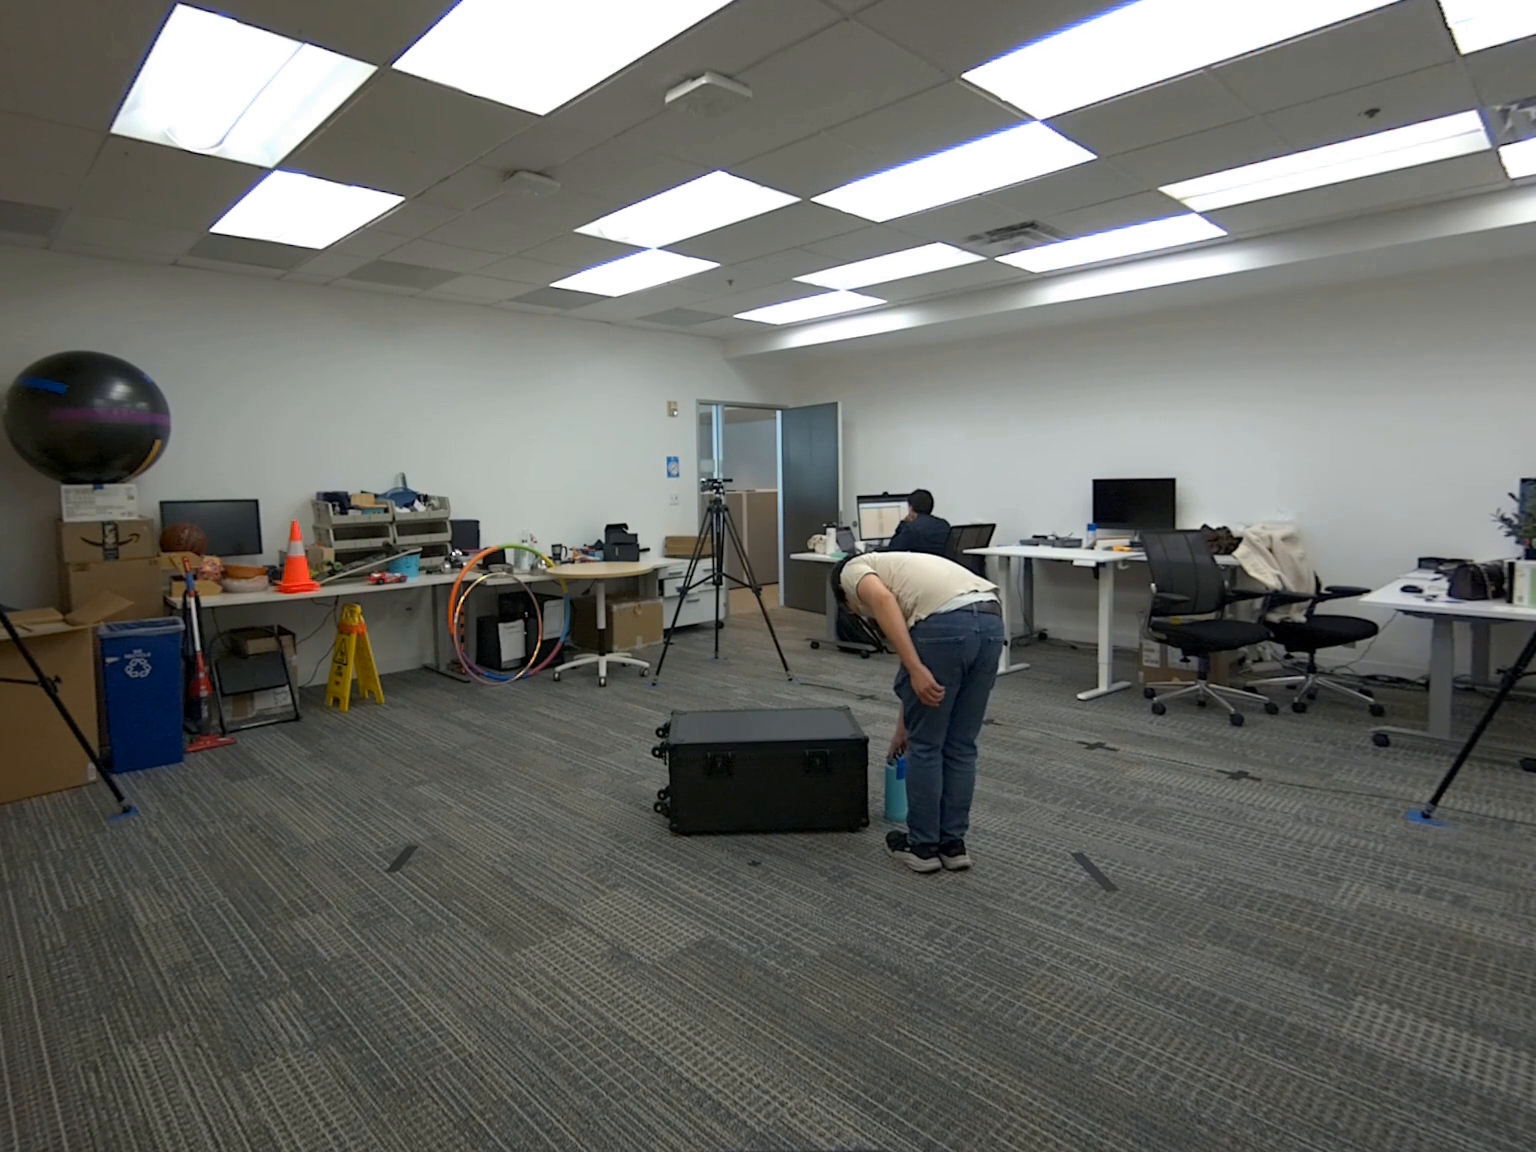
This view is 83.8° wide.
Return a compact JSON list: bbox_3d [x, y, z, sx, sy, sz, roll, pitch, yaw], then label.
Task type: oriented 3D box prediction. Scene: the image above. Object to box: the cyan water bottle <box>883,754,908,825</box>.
[{"bbox_3d":[0.519,0.846,3.489,0.092,0.283,0.092,-1,2,-2],"label":"cyan water bottle"}]
